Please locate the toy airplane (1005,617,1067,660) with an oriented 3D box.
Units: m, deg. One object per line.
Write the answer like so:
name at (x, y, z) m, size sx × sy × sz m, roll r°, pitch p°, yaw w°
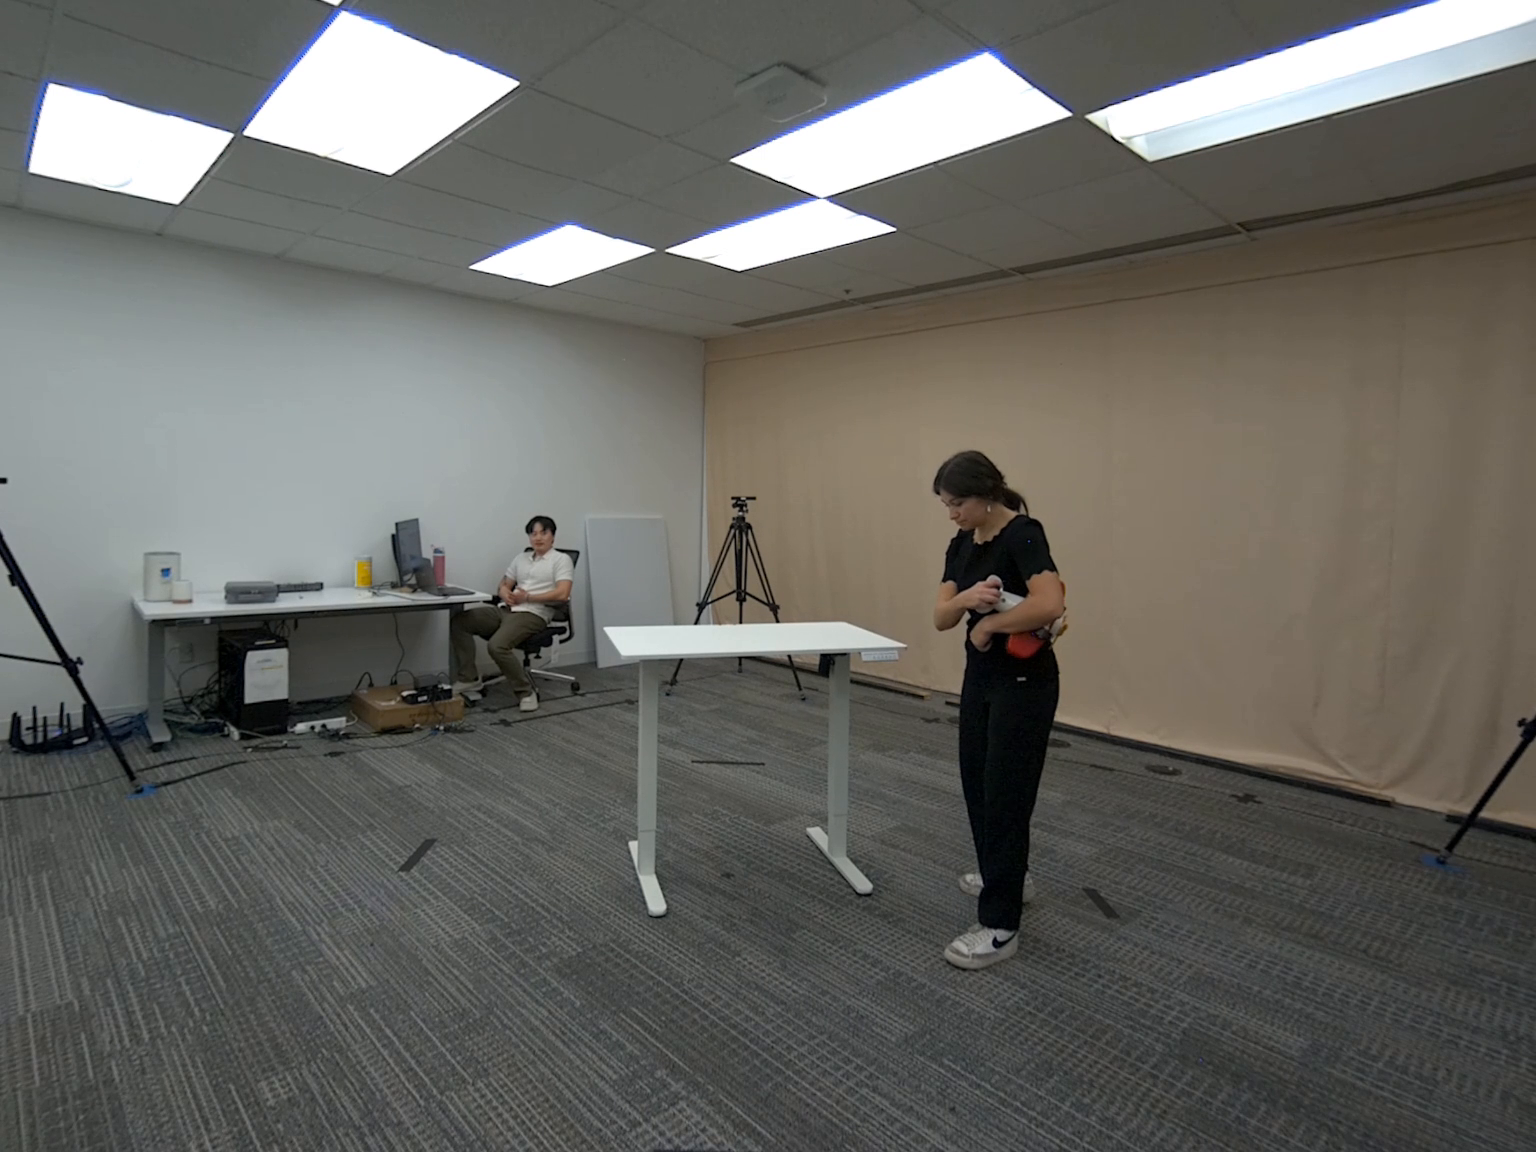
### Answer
toy airplane at (0.767, 0.092, 2.519) m, size 0.251 × 0.265 × 0.152 m, roll -36°, pitch -25°, yaw 8°
